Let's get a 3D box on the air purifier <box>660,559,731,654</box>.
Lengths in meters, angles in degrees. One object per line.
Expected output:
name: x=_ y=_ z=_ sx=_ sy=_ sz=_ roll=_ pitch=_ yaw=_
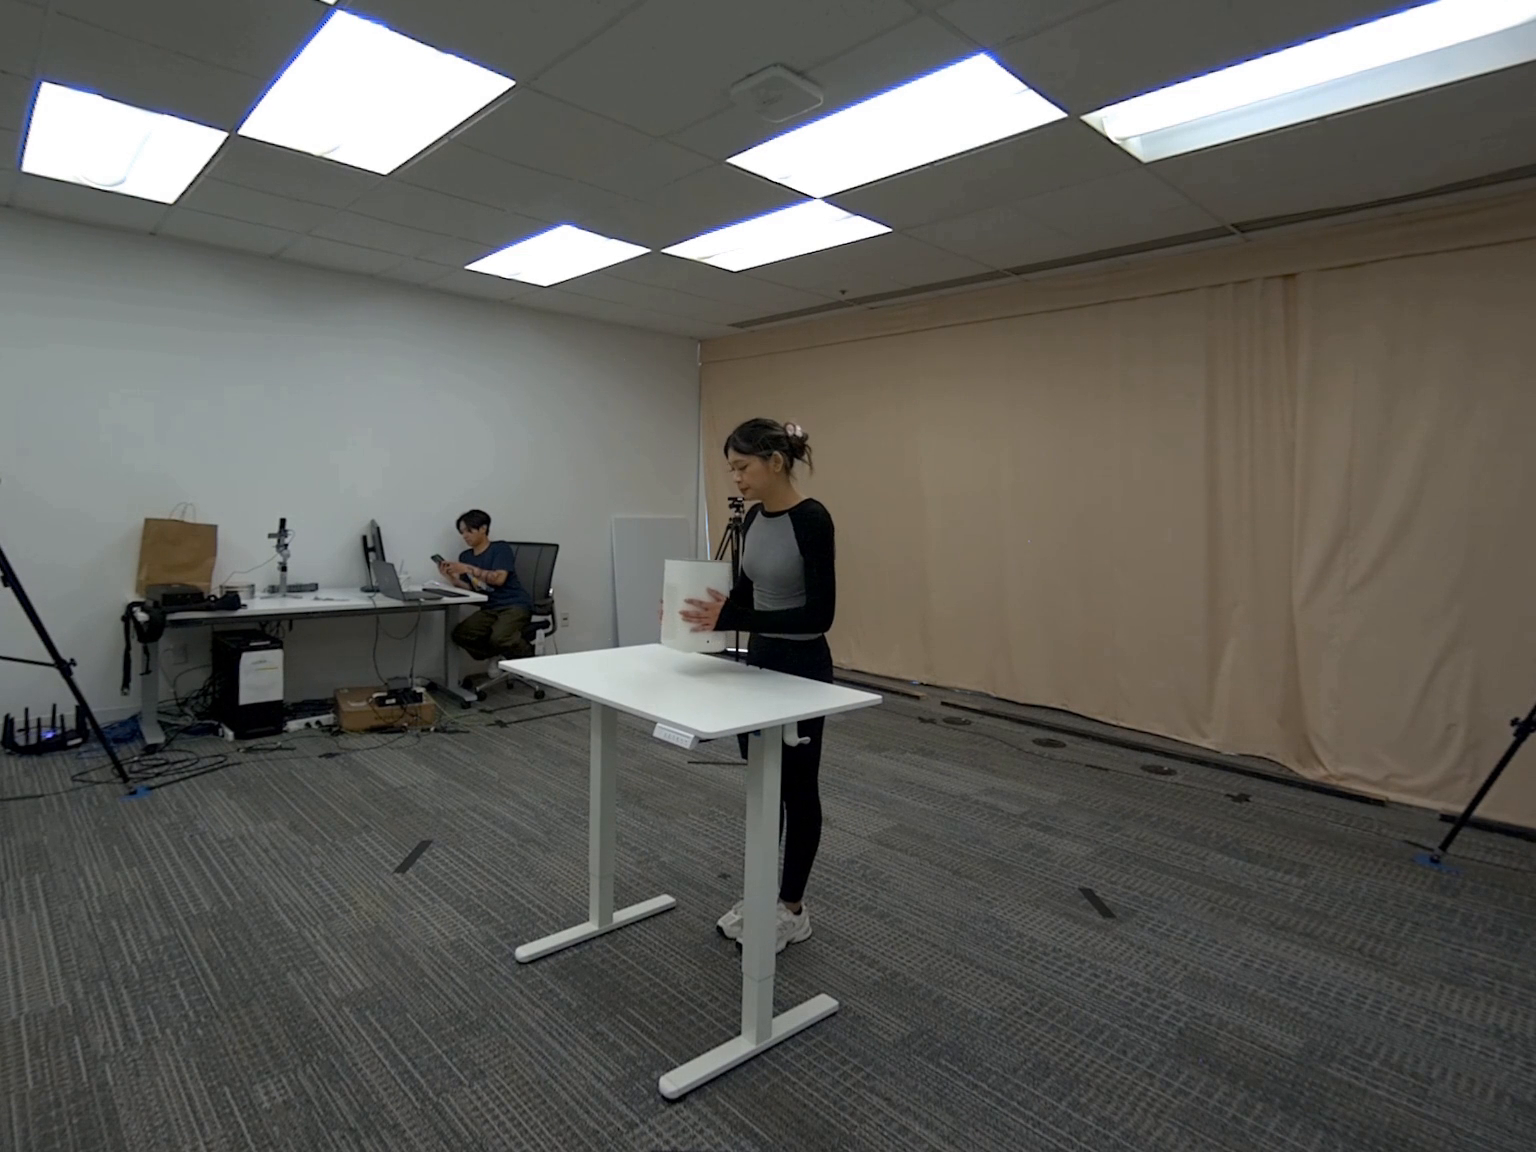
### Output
air purifier: x=-0.212 y=0.087 z=2.464 sx=0.167 sy=0.265 sz=0.175 roll=3 pitch=-1 yaw=-36
